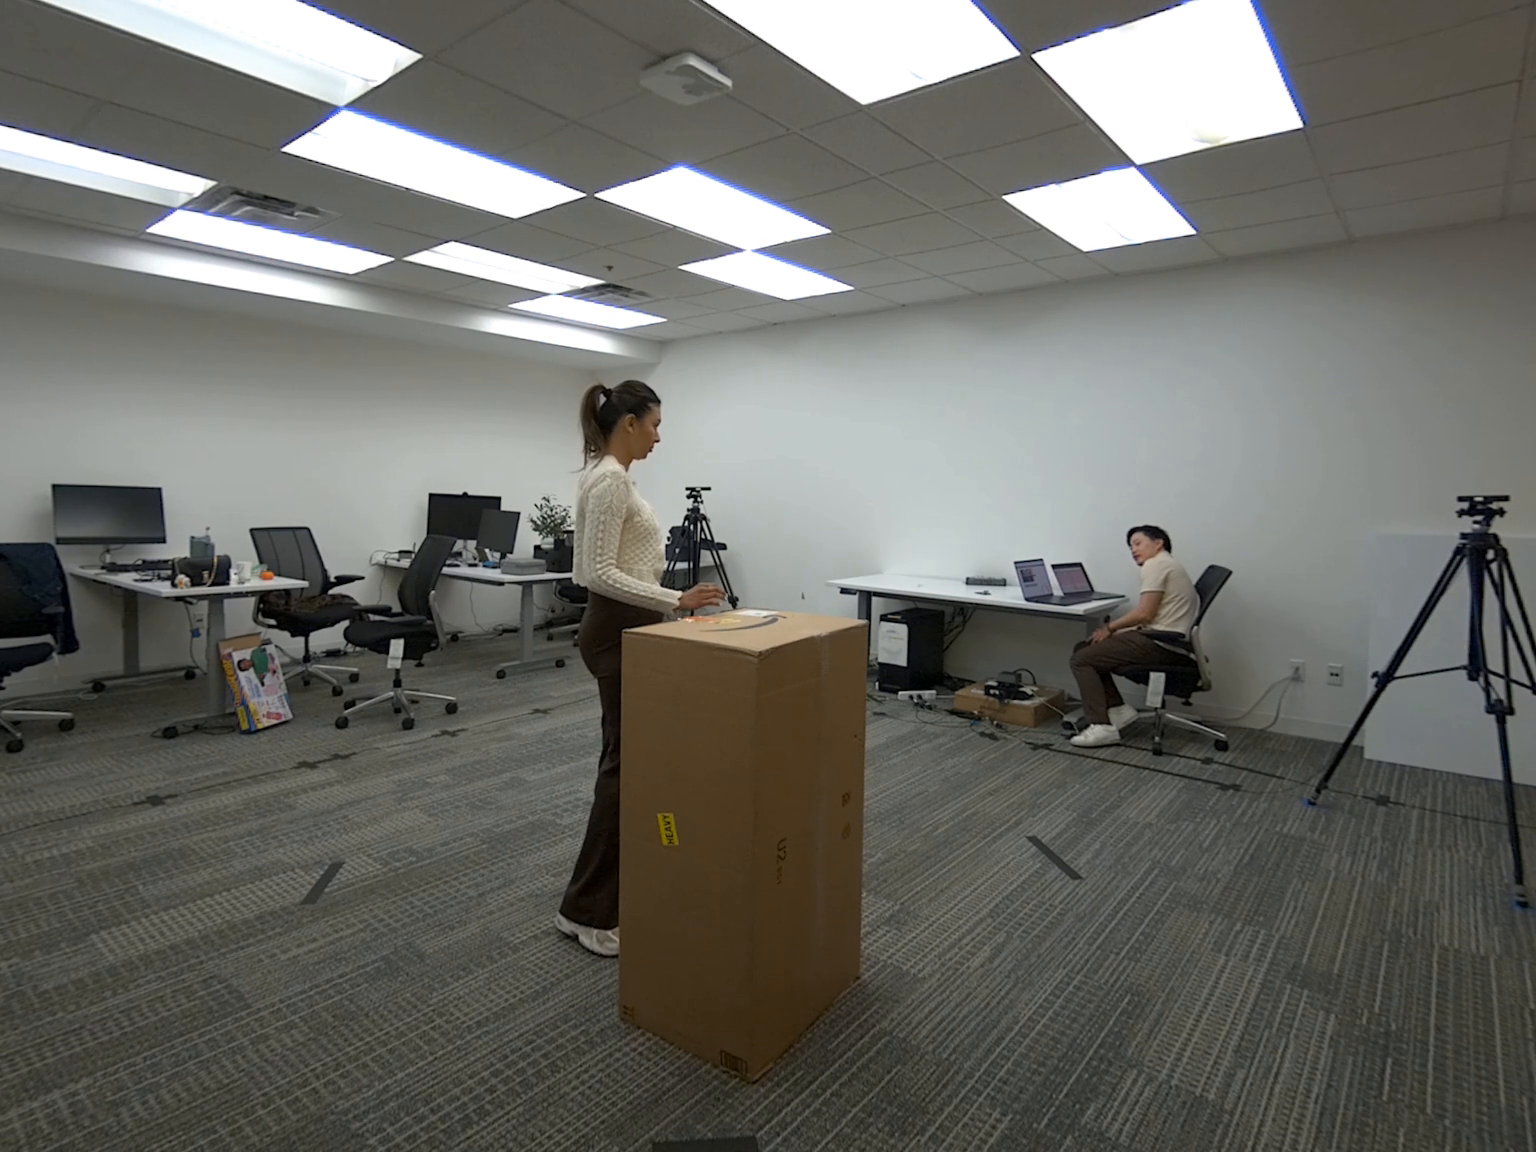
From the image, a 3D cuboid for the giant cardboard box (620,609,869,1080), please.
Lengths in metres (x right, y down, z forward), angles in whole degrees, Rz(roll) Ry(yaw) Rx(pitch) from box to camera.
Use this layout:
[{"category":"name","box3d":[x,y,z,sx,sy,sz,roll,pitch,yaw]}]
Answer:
[{"category":"giant cardboard box","box3d":[-0.060,0.637,2.308,0.440,1.022,0.561,3,4,34]}]
